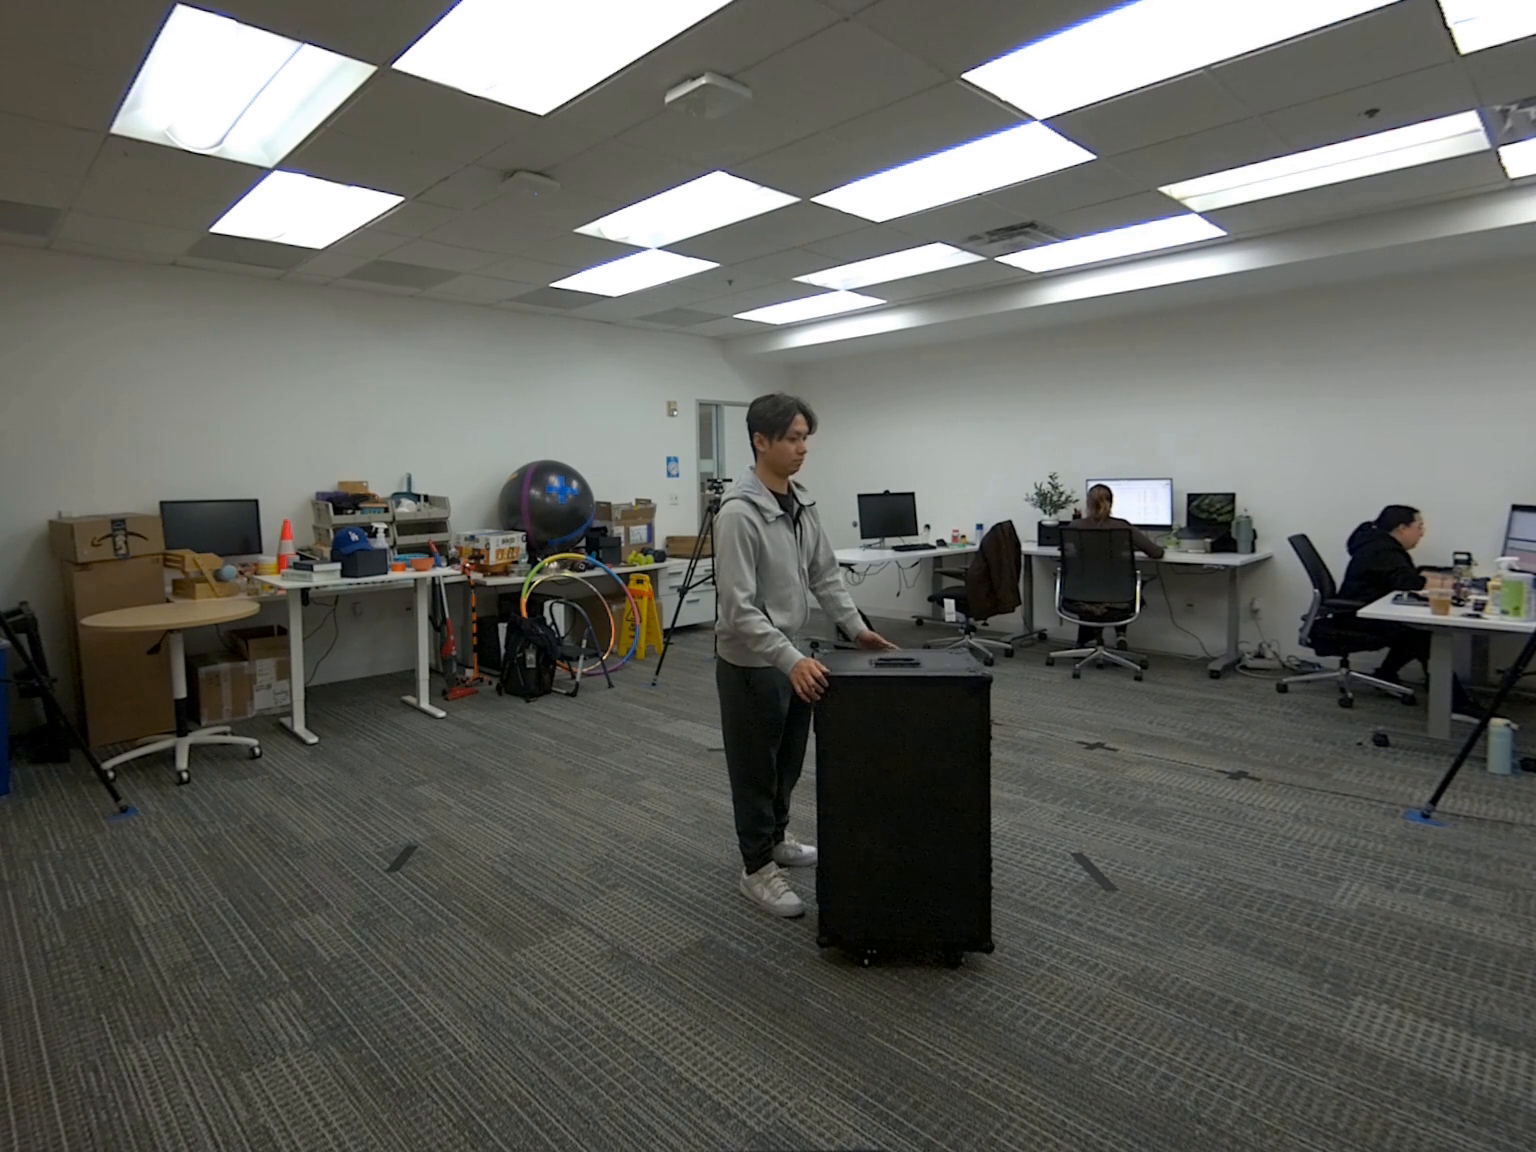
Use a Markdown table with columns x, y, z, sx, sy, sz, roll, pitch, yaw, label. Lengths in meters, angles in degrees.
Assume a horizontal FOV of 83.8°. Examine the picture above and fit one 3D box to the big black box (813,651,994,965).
| x | y | z | sx | sy | sz | roll | pitch | yaw | label |
| --- | --- | --- | --- | --- | --- | --- | --- | --- | --- |
| 0.386 | 0.683 | 2.549 | 0.524 | 0.858 | 0.395 | -1 | 4 | 6 | big black box |
